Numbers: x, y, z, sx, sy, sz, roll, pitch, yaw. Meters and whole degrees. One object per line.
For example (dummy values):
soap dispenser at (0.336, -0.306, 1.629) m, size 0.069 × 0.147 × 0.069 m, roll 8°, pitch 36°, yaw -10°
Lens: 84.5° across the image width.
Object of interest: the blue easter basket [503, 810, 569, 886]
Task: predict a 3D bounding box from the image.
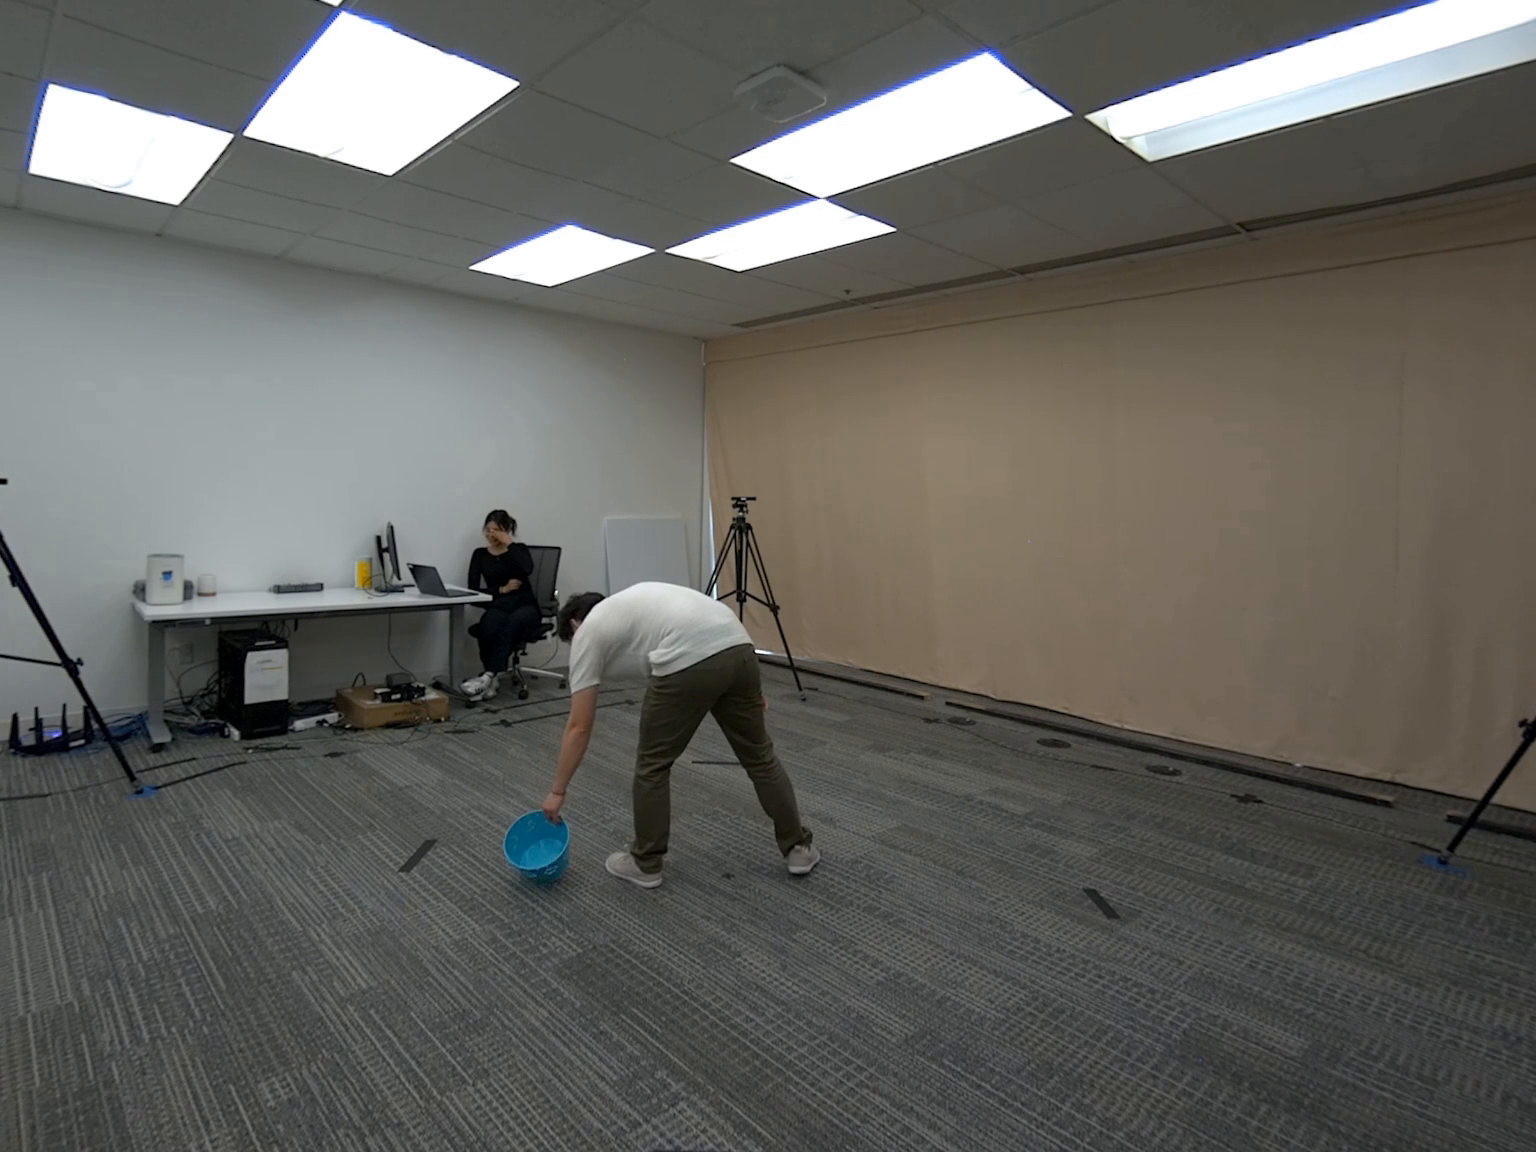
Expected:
blue easter basket at (-0.819, 0.988, 3.023) m, size 0.244 × 0.152 × 0.249 m, roll -4°, pitch 40°, yaw 2°
